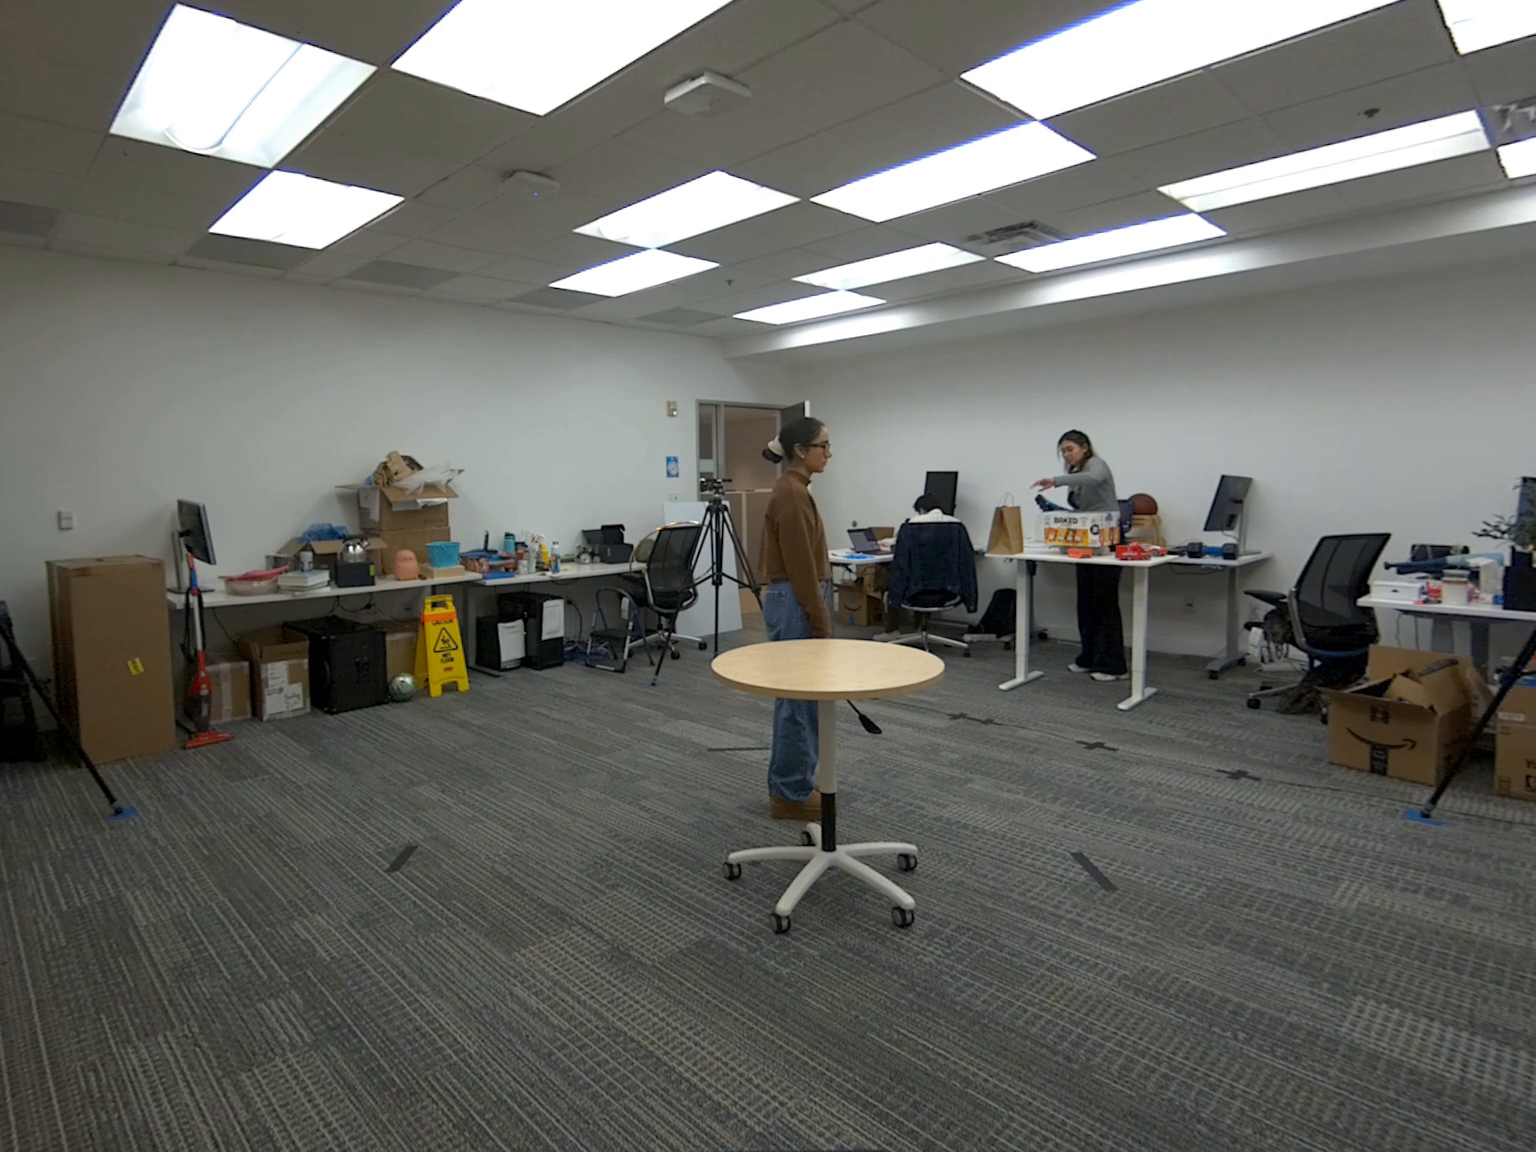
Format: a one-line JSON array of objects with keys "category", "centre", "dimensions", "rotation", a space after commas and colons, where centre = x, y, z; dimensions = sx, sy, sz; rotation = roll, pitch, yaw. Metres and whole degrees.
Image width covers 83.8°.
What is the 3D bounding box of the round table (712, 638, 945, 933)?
[{"category": "round table", "centre": [0.208, 0.680, 2.875], "dimensions": [0.763, 0.790, 0.768], "rotation": [-1, 5, -2]}]
